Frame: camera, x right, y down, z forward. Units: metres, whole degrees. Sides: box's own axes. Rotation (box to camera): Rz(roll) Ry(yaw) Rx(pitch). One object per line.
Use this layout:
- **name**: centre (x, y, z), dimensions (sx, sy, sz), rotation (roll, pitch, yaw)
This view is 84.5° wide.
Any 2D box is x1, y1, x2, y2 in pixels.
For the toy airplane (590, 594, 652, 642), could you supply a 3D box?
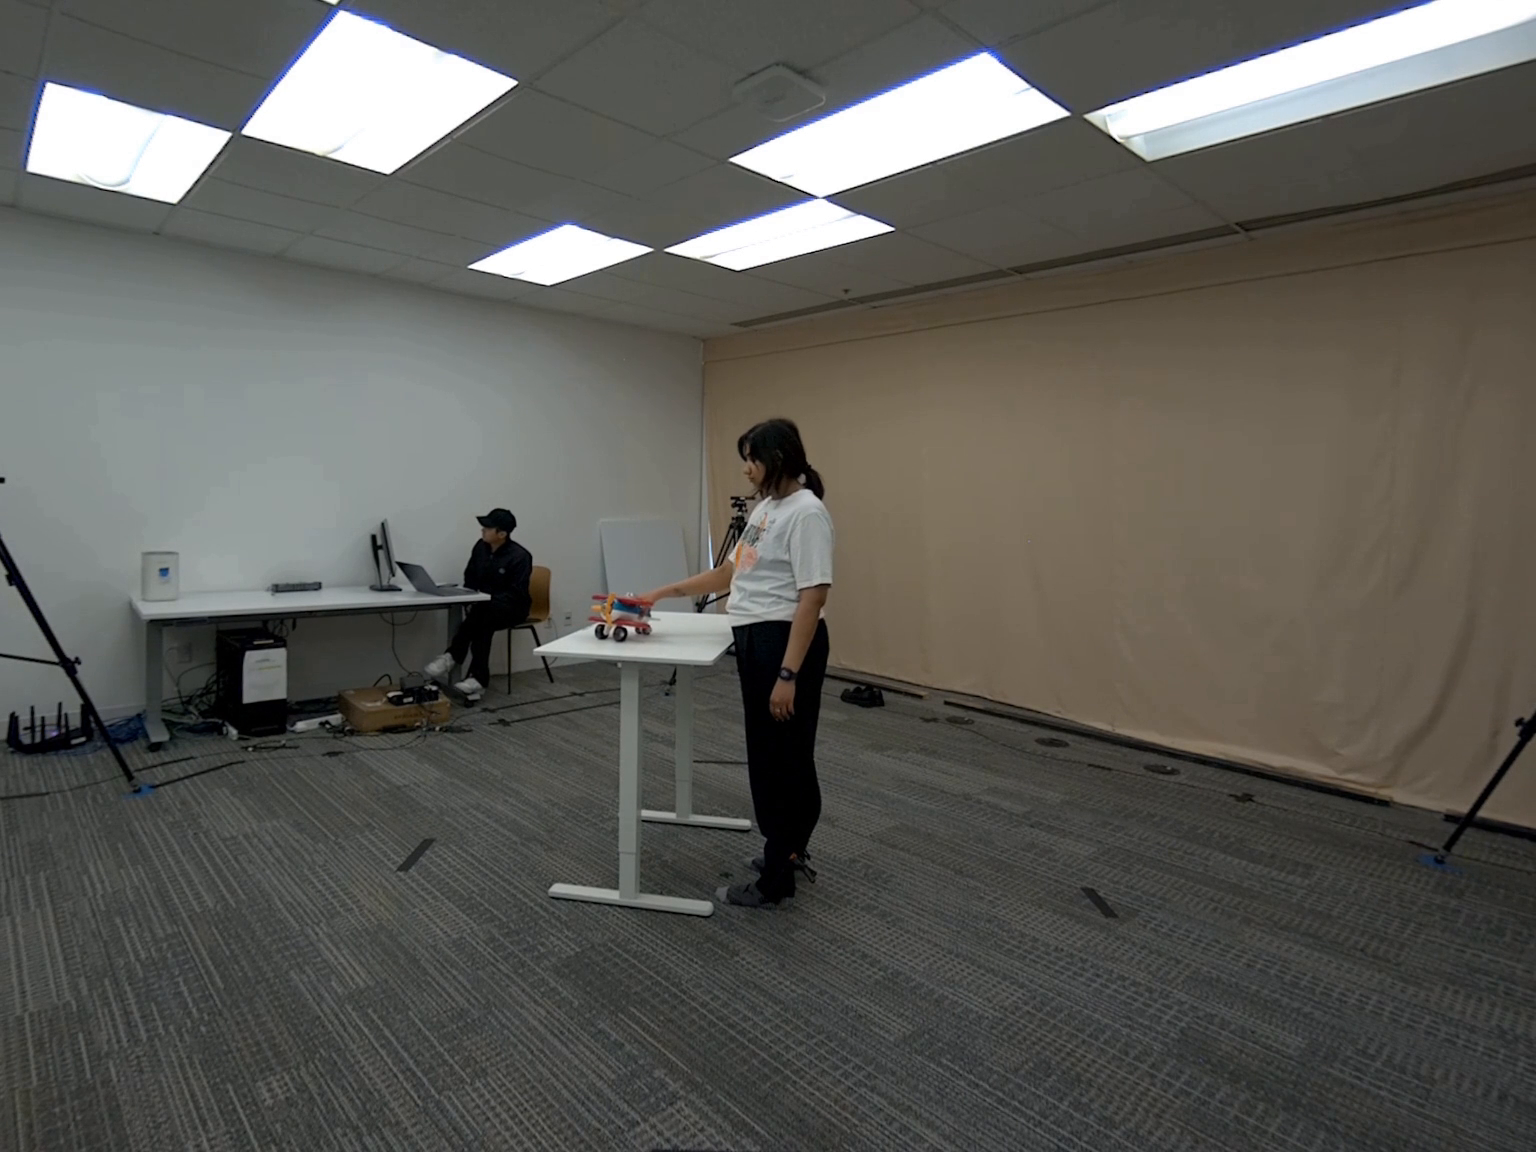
- **toy airplane**: centre (-0.529, 0.144, 3.034), dimensions (0.252, 0.156, 0.259), rotation (1, 5, 4)
